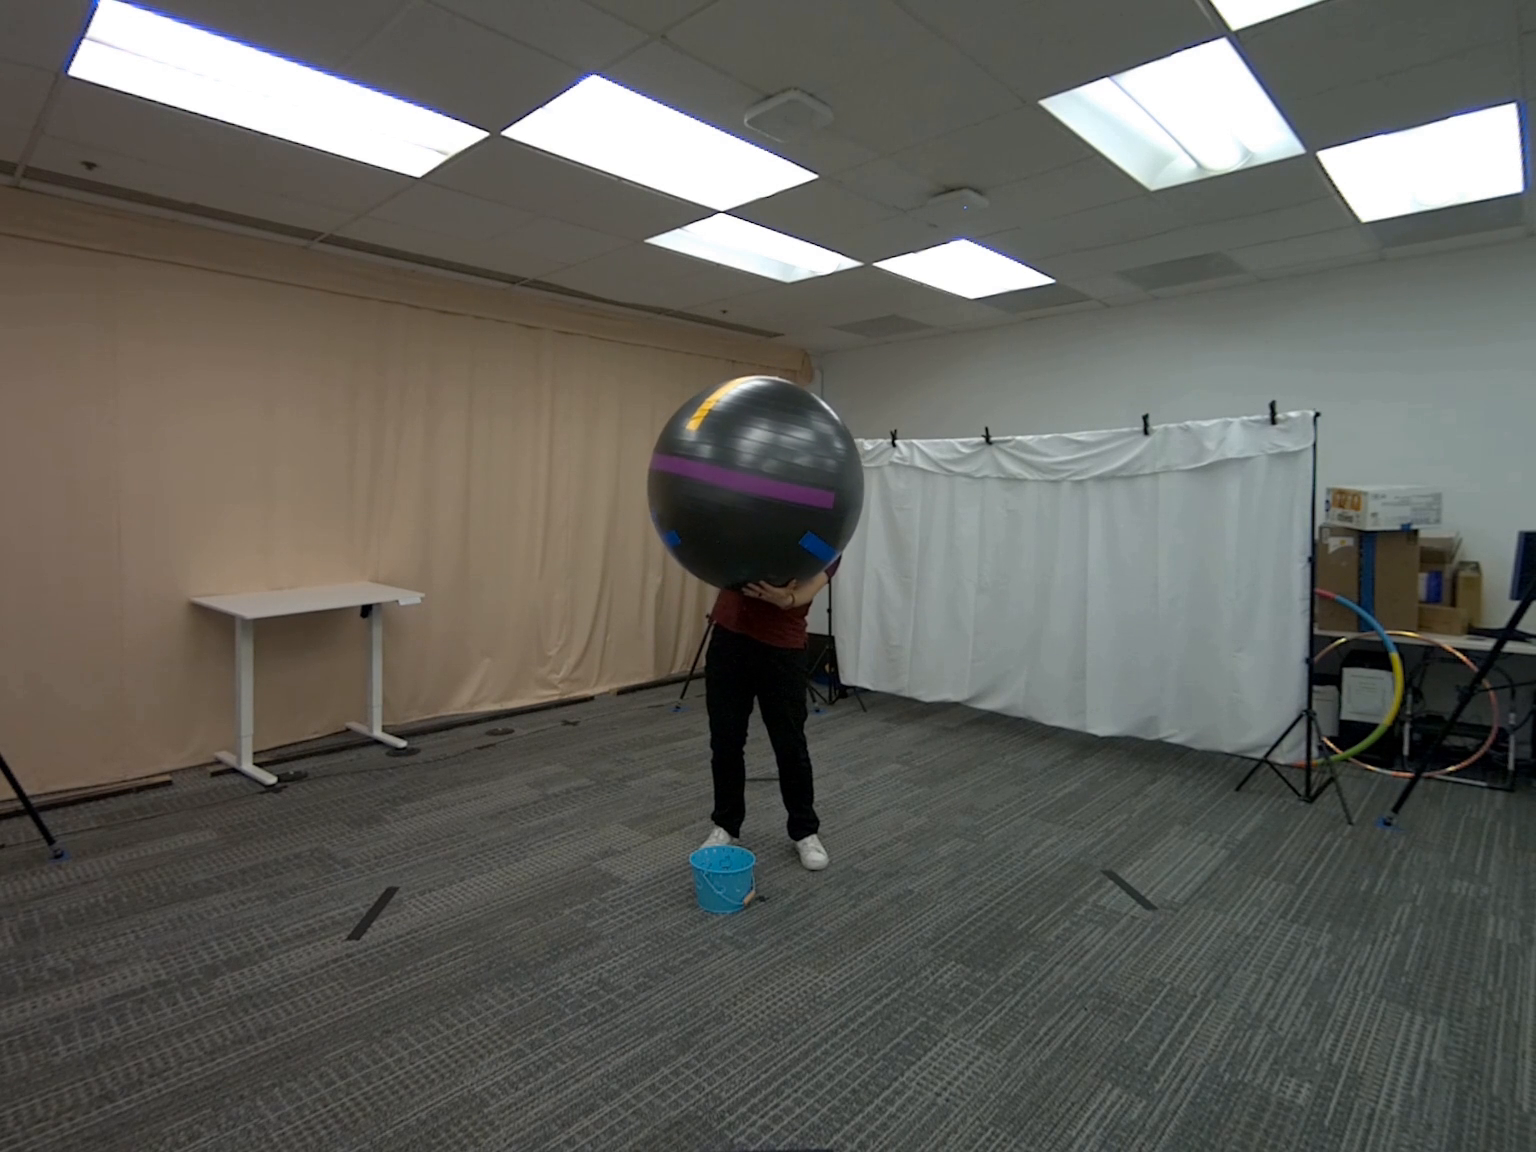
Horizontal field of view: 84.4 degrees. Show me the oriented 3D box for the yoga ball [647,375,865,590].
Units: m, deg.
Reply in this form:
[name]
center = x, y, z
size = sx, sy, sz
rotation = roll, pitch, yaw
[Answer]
[yoga ball]
center = -0.038, -0.310, 2.960
size = 0.757, 0.756, 0.760
rotation = 0, 4, -2
